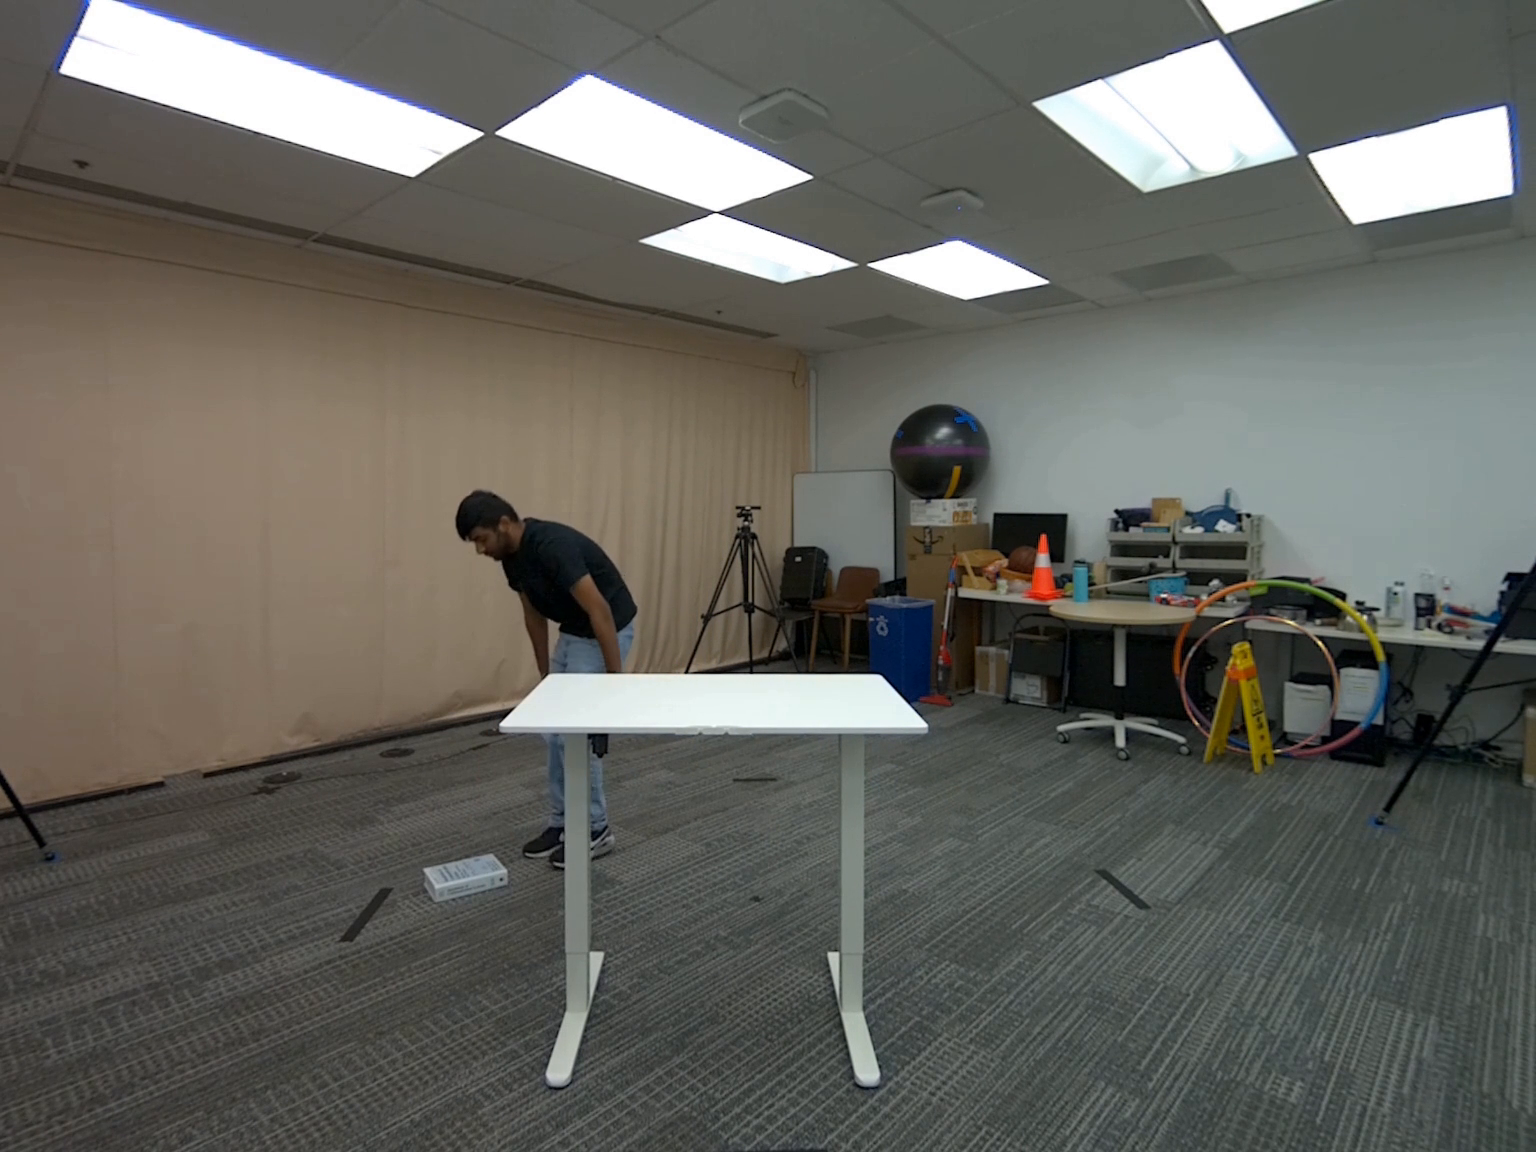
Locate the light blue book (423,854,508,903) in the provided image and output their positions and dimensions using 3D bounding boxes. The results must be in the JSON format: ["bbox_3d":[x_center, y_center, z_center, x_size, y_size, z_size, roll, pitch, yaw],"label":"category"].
[{"bbox_3d":[-1.122,1.112,3.110,0.254,0.059,0.197,-3,4,-33],"label":"light blue book"}]
